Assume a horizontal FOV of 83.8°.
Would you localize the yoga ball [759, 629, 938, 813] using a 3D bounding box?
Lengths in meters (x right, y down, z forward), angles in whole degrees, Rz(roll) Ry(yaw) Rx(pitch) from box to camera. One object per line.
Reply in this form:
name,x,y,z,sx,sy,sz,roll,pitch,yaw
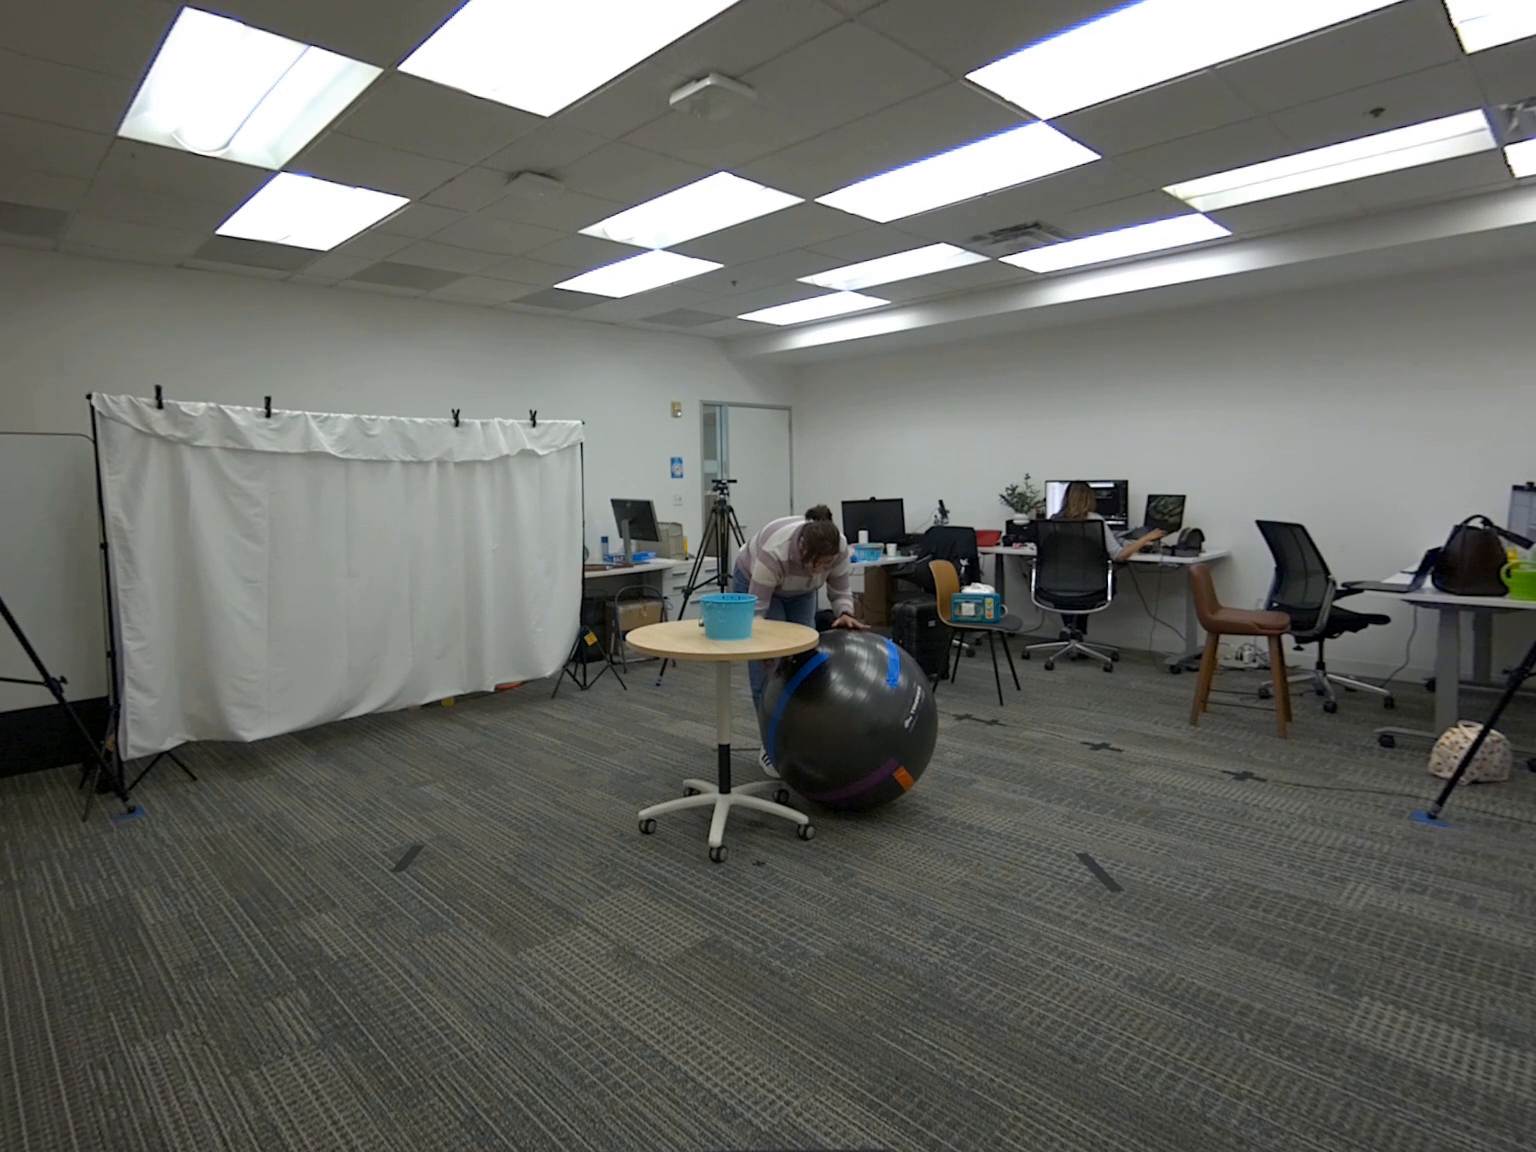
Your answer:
yoga ball,0.355,0.612,3.650,0.757,0.755,0.762,-1,5,-2
